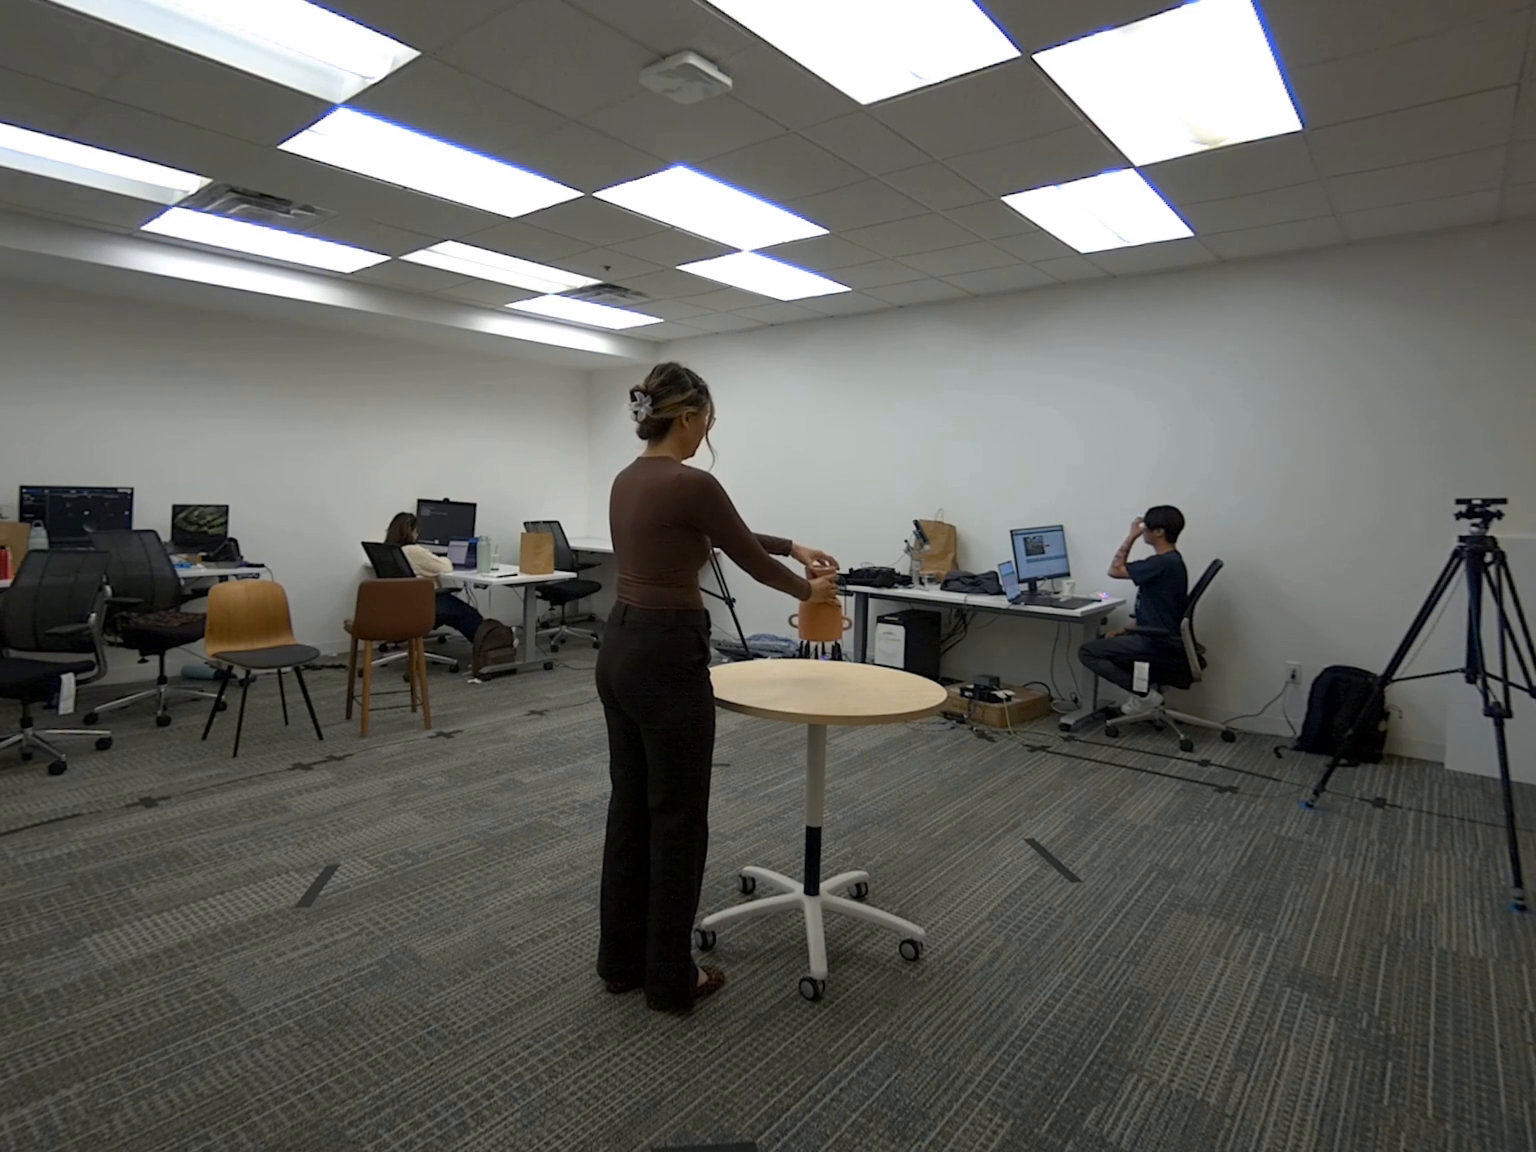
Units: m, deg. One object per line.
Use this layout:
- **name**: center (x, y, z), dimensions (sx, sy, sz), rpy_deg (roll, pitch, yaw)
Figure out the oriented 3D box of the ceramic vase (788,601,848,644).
- **ceramic vase**: center (0.153, 0.078, 2.615), dimensions (0.155, 0.218, 0.139), rpy_deg (-5, 8, -27)
